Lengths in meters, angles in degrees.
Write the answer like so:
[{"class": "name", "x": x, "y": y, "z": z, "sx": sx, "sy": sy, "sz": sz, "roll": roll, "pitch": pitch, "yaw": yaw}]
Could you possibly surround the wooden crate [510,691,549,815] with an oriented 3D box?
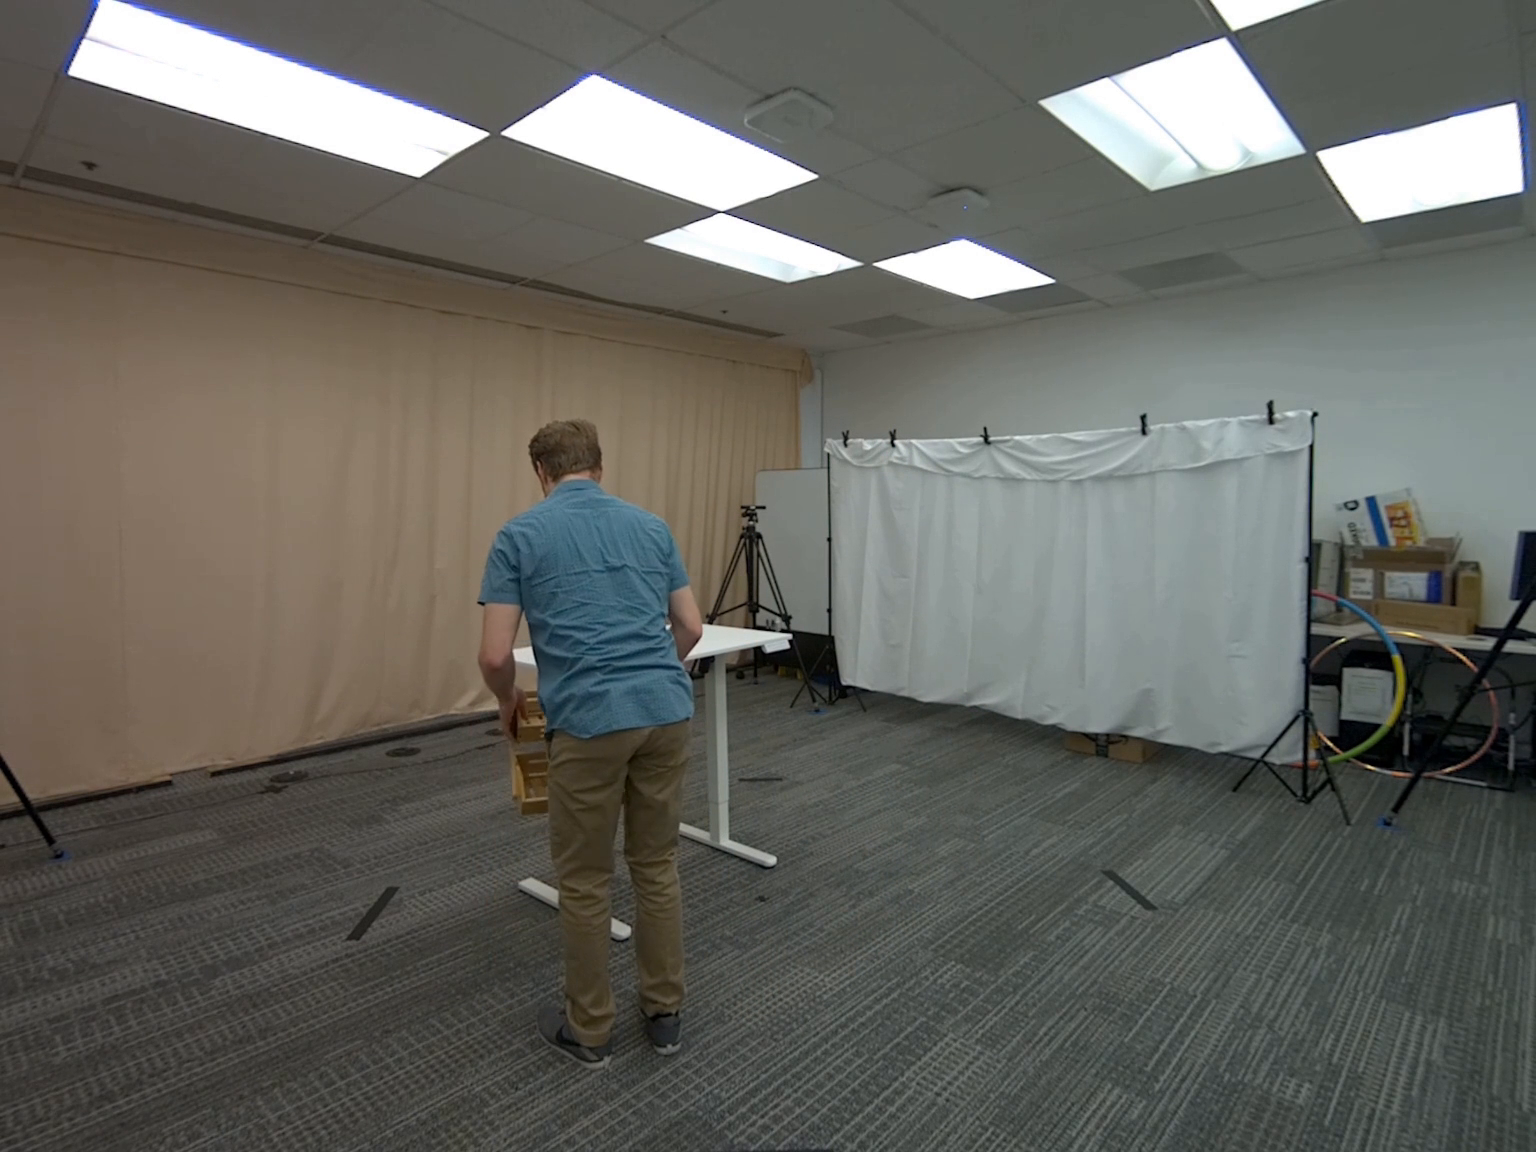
[{"class": "wooden crate", "x": -0.556, "y": 0.470, "z": 2.349, "sx": 0.318, "sy": 0.272, "sz": 0.309, "roll": 1, "pitch": 6, "yaw": -20}]
